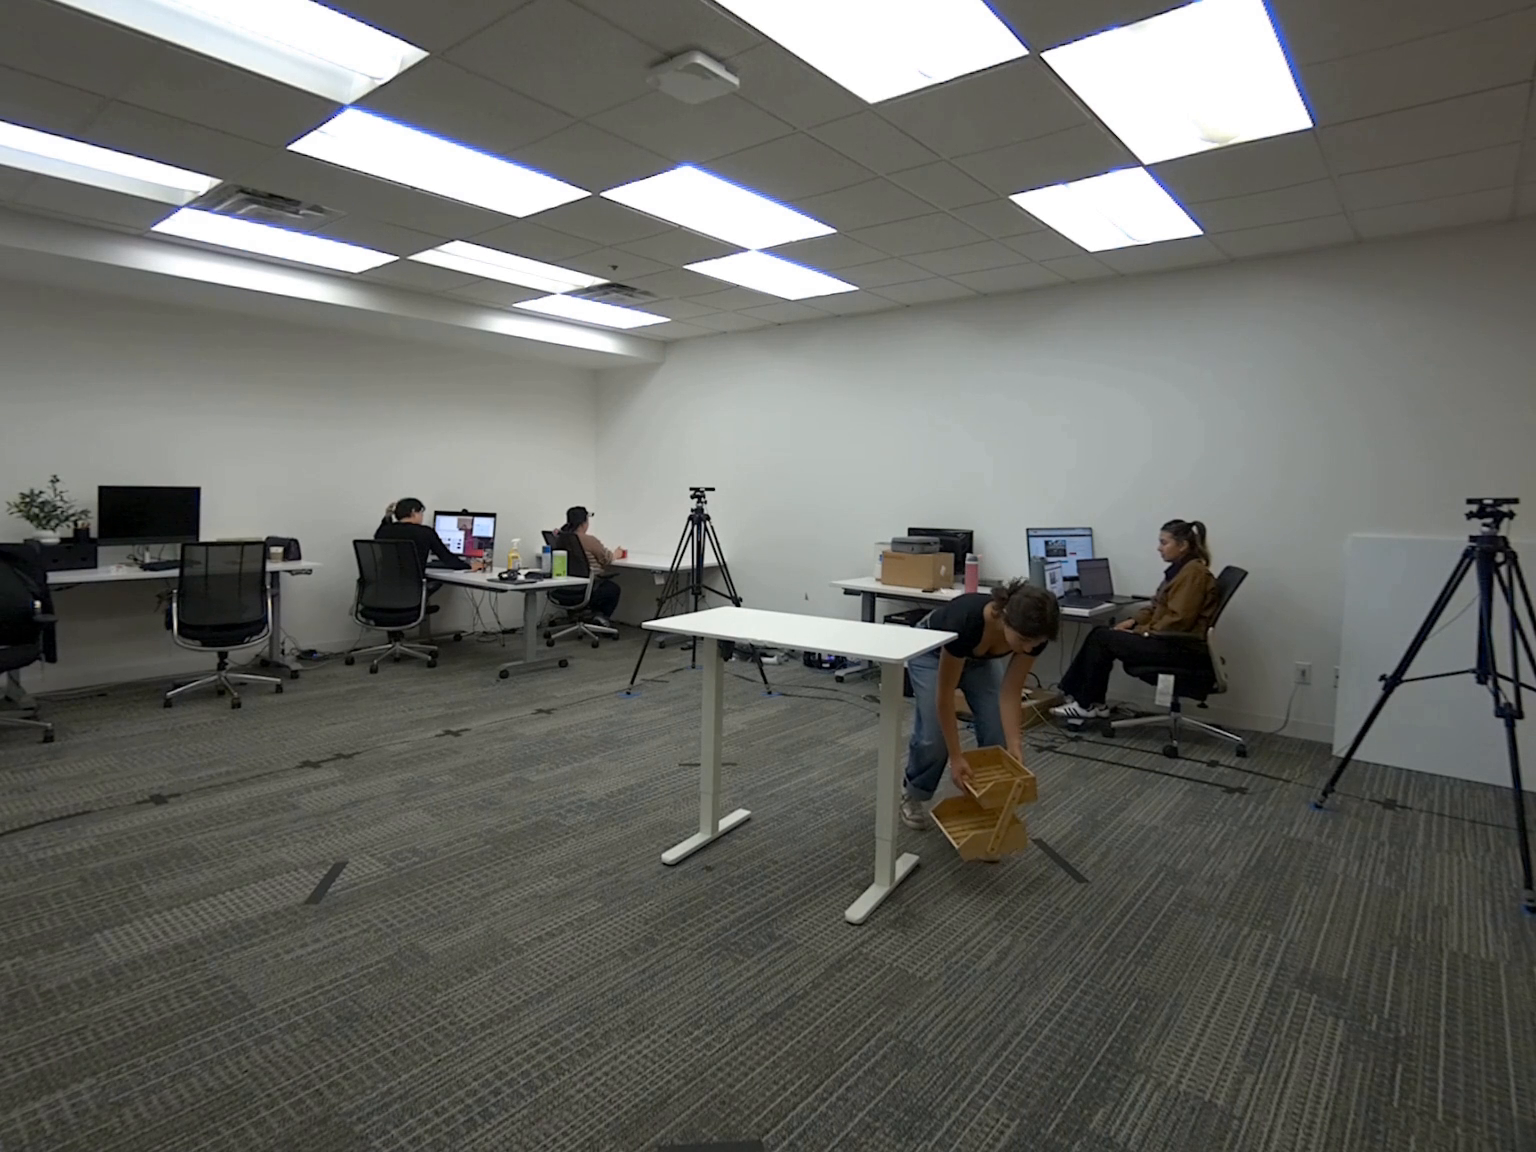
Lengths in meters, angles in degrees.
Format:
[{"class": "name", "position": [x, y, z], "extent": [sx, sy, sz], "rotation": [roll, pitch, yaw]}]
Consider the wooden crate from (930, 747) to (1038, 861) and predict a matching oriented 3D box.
[{"class": "wooden crate", "position": [0.755, 0.805, 3.073], "extent": [0.301, 0.271, 0.329], "rotation": [-10, 9, -6]}]
